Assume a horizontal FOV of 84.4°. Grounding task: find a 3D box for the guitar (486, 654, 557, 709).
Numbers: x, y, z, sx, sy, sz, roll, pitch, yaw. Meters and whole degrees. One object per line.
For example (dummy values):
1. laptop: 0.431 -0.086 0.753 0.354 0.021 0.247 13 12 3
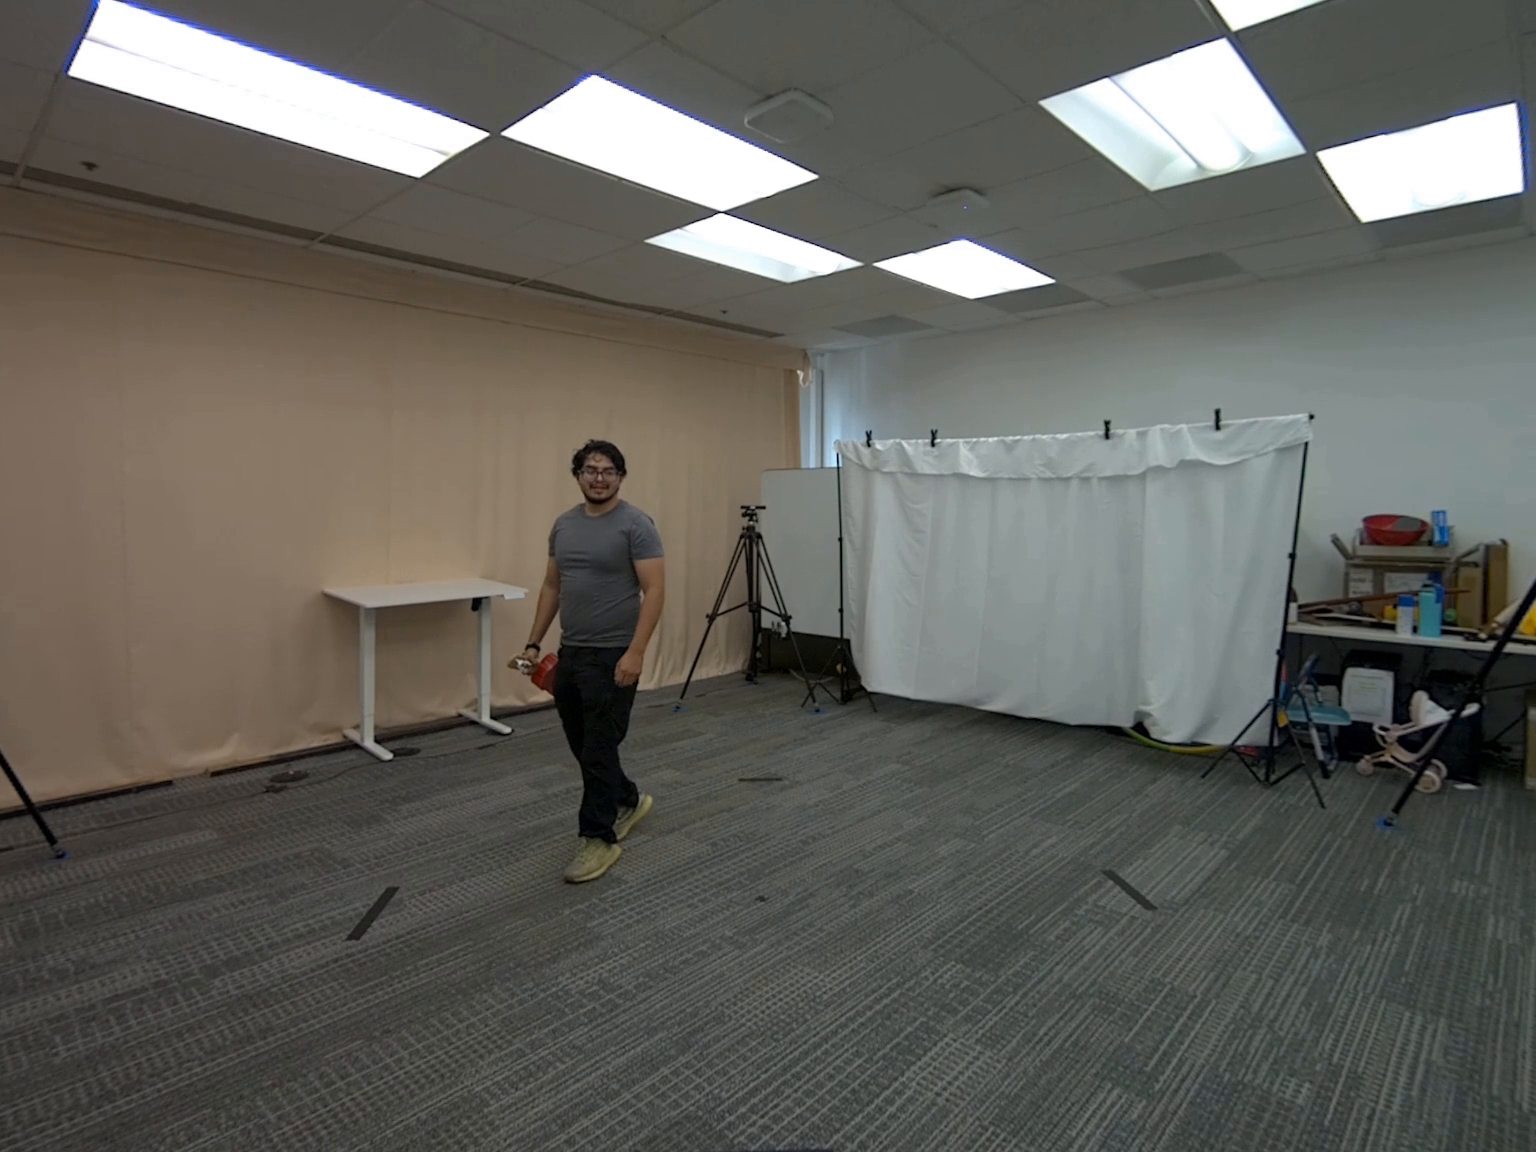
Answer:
1. guitar: -0.923 0.412 3.404 0.072 0.193 0.488 34 4 14
